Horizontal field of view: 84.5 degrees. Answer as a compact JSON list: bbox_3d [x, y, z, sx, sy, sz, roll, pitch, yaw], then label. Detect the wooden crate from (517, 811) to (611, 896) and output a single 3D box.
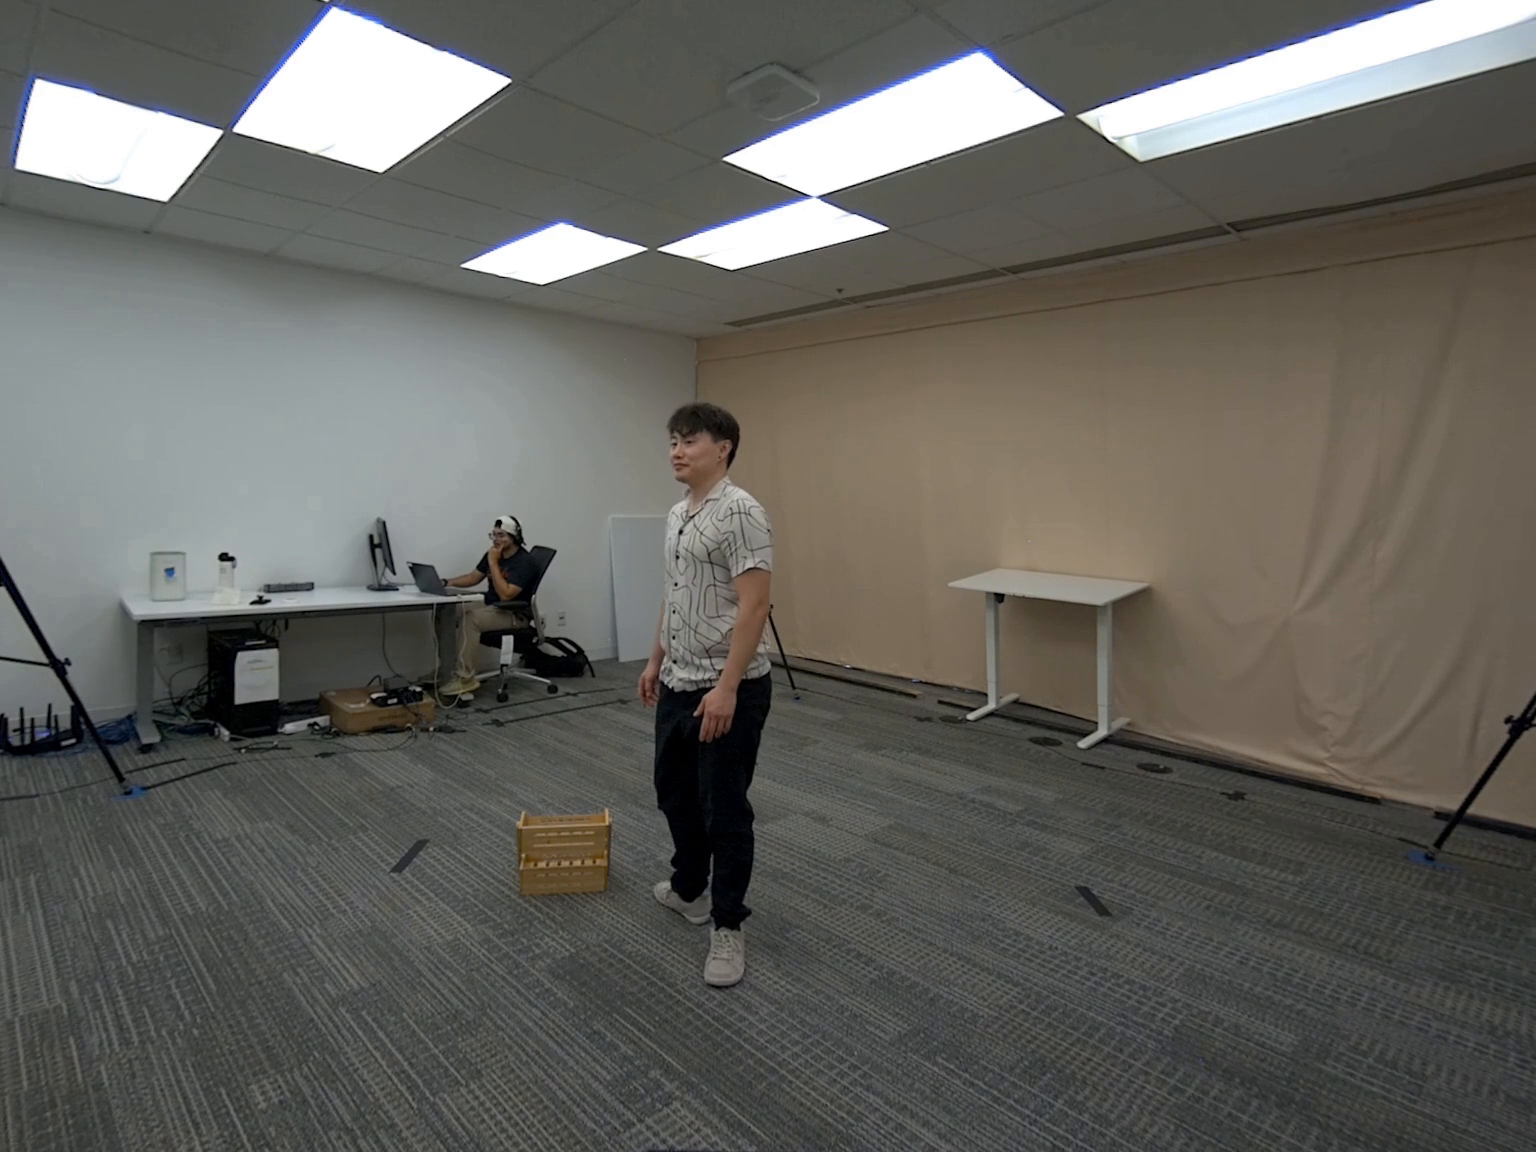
[{"bbox_3d":[-0.760,0.971,3.032,0.322,0.272,0.306,0,6,-11],"label":"wooden crate"}]
